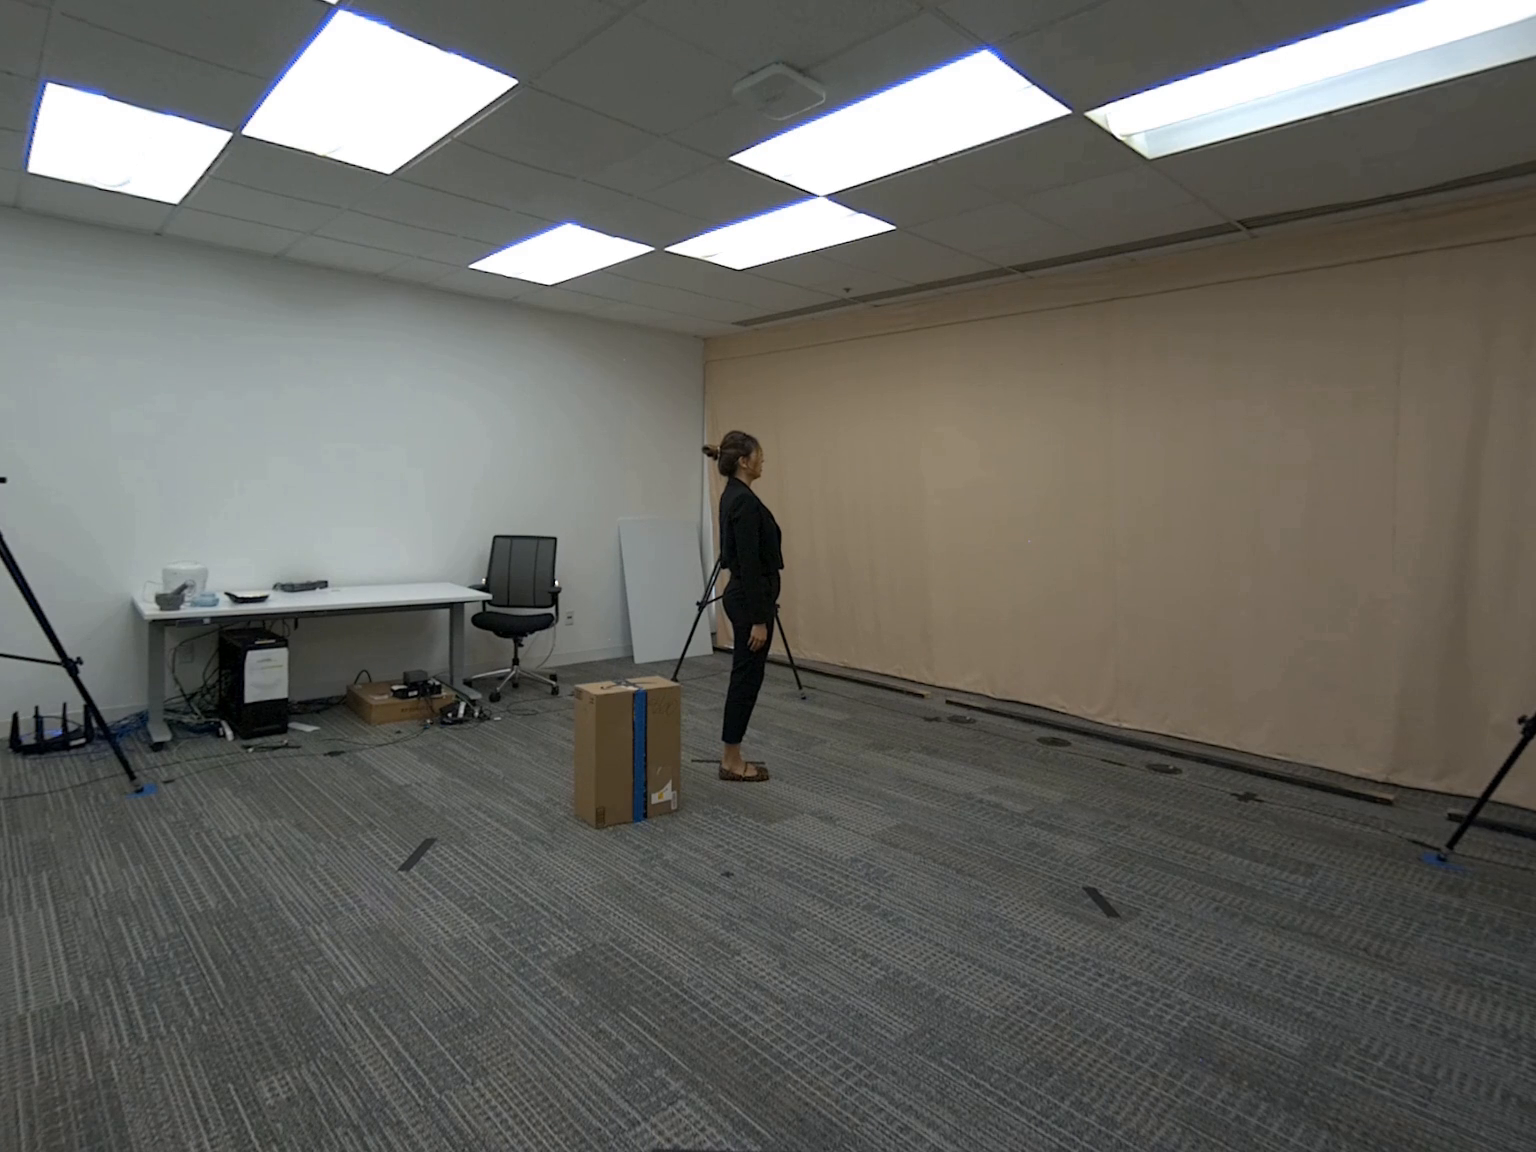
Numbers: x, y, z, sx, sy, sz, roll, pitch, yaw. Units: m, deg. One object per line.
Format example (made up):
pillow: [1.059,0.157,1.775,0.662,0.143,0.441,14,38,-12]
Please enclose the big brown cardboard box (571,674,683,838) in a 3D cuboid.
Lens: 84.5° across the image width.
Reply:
big brown cardboard box: [-0.612,0.761,3.675,0.409,0.587,0.239,-2,4,-35]
